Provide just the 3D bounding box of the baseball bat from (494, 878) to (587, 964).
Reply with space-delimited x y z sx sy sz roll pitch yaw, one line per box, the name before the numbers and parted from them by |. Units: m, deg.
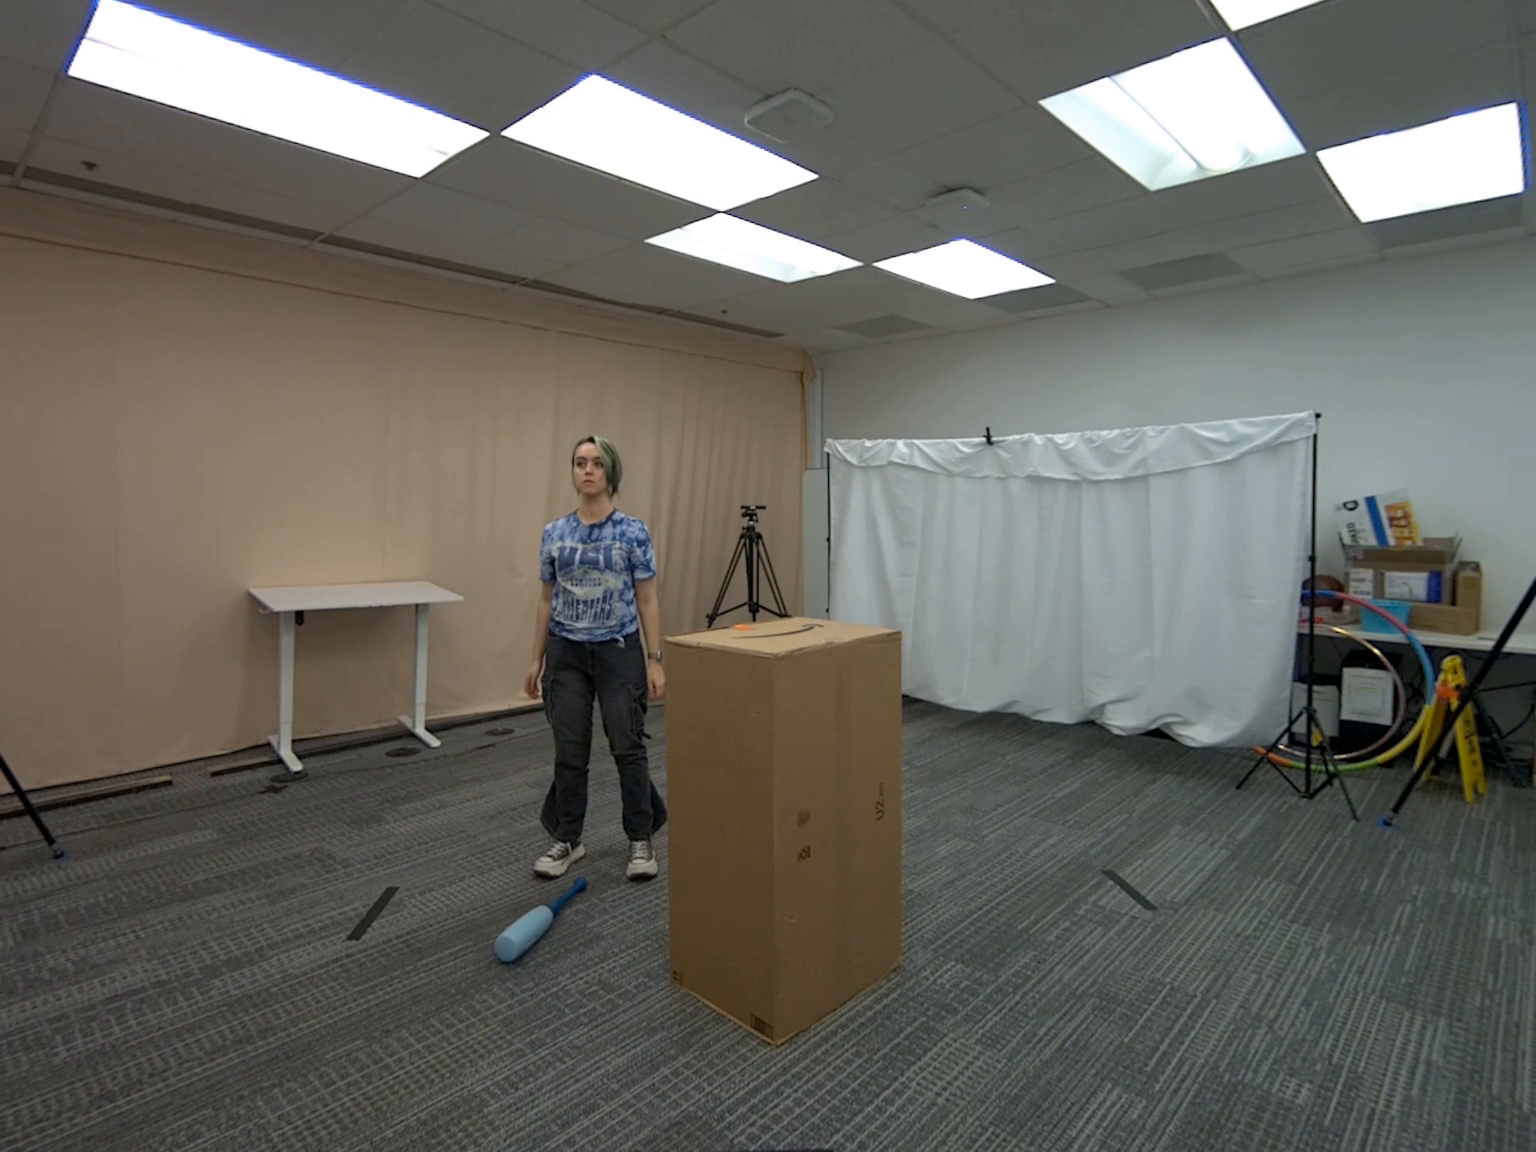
baseball bat | -0.740 1.136 2.800 0.090 0.089 0.534 1 1 13
